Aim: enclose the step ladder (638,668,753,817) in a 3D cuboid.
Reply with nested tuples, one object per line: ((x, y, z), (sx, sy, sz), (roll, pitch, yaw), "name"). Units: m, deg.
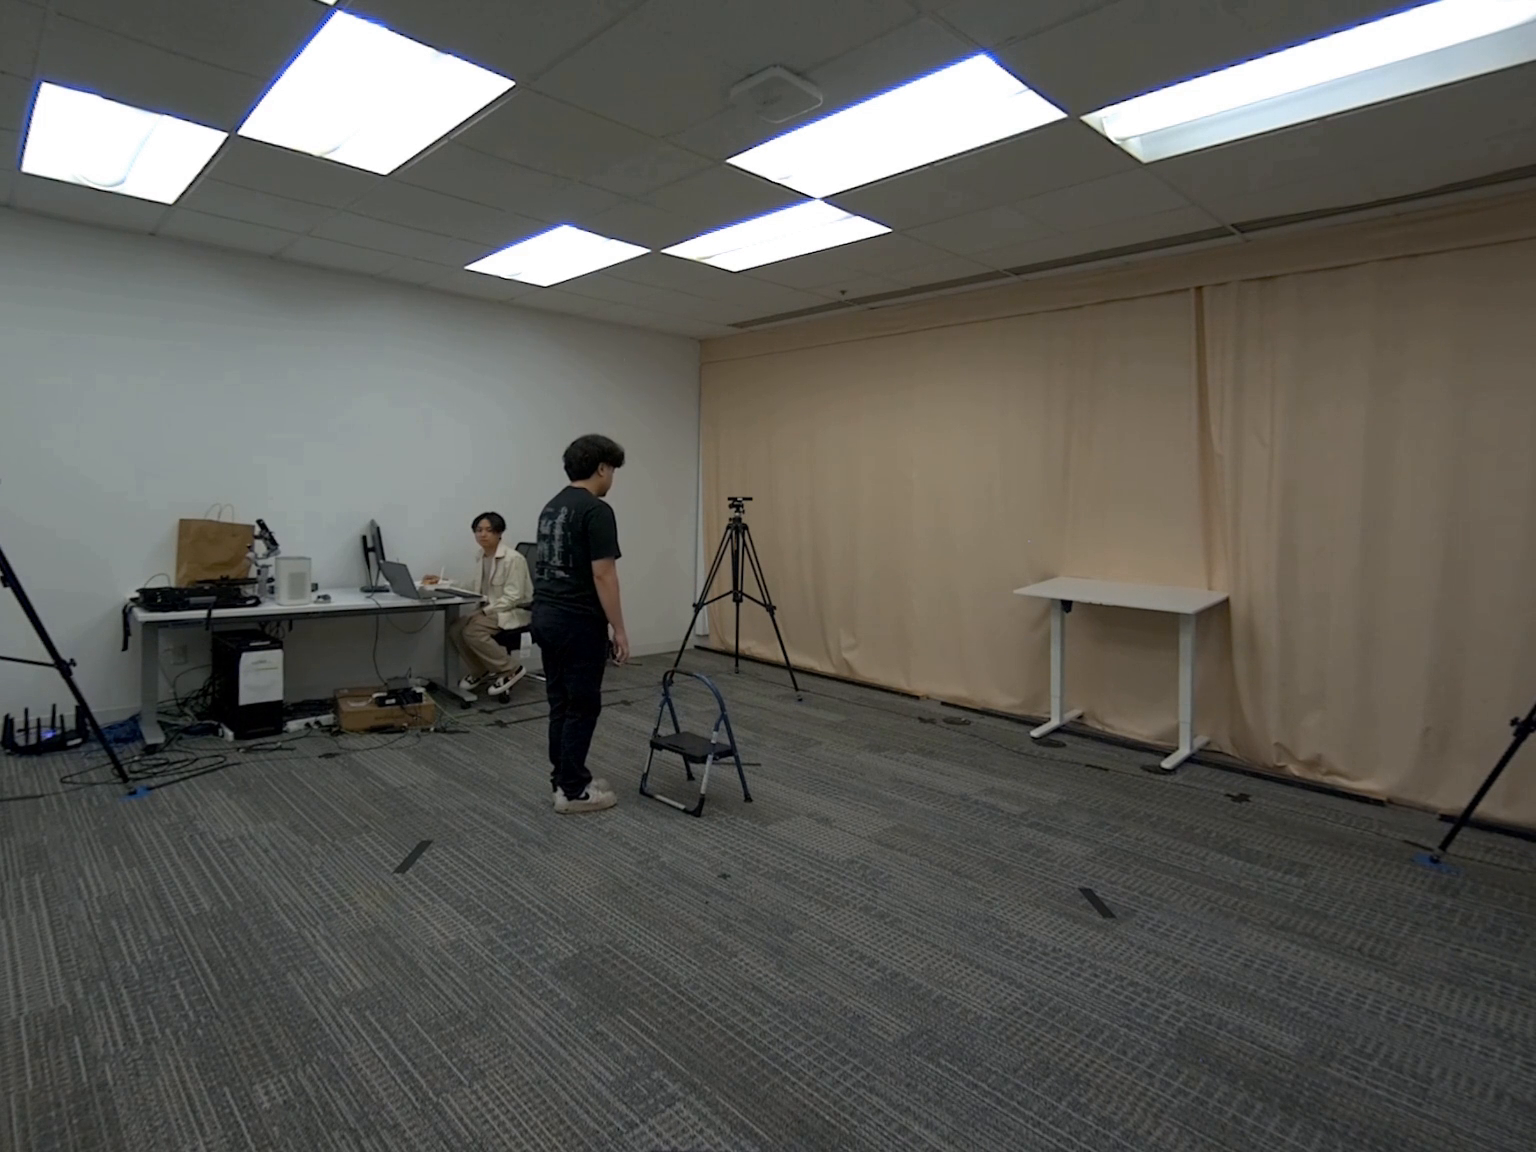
((-0.341, 0.732, 3.922), (0.441, 0.605, 0.341), (4, 3, 43), "step ladder")
